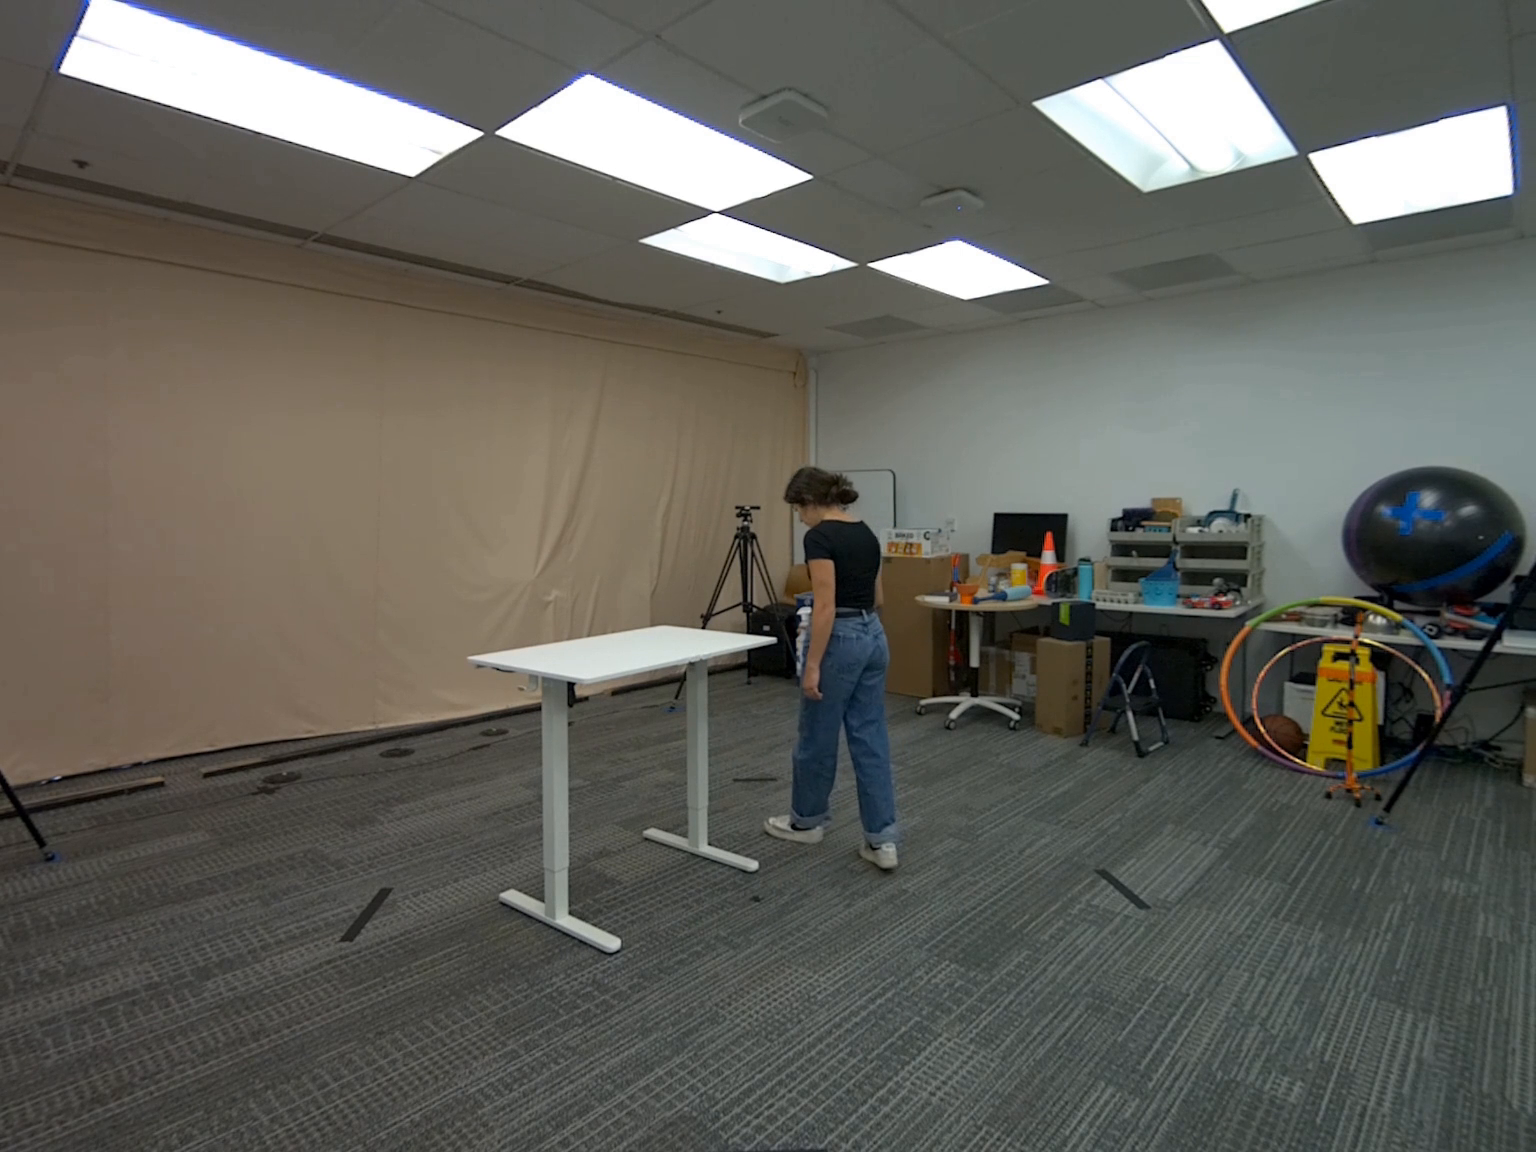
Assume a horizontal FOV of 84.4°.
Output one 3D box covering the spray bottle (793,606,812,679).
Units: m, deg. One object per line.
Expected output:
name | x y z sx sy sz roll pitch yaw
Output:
spray bottle | 0.172 0.281 3.603 0.084 0.297 0.093 1 1 -36
